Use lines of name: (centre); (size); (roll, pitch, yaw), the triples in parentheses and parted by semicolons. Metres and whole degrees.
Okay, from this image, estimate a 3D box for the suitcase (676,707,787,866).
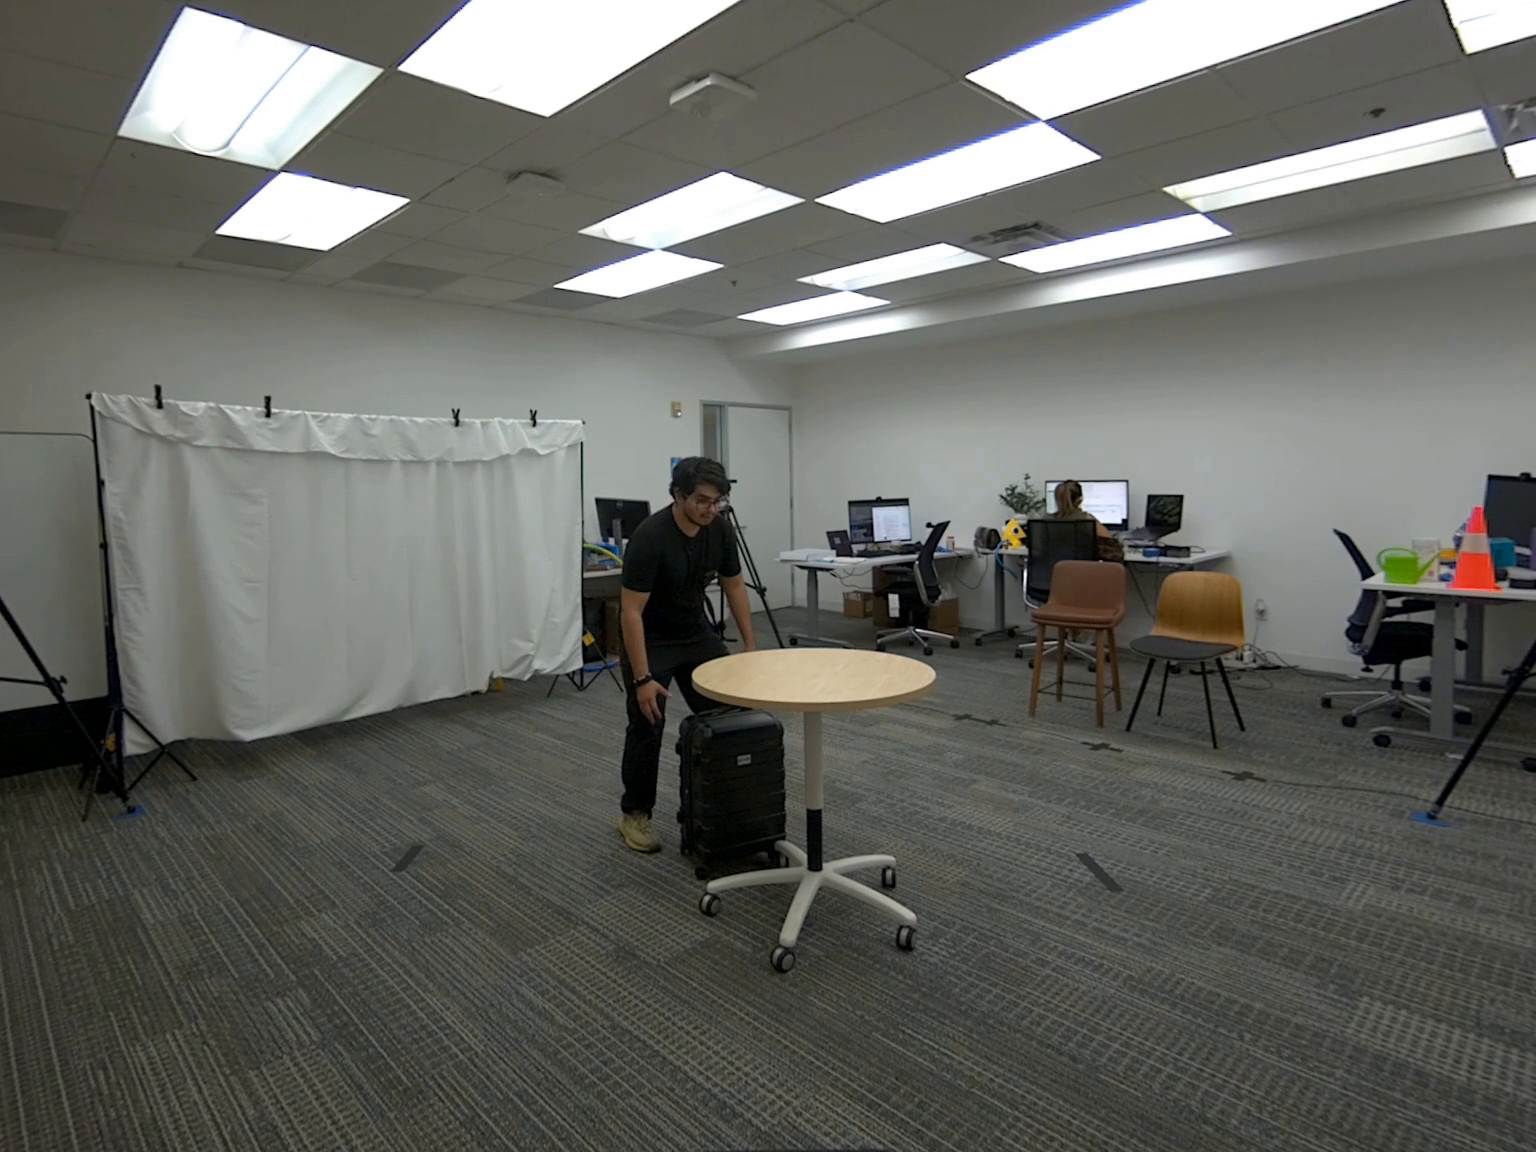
suitcase: (-0.134, 0.764, 3.137); (0.368, 0.547, 0.254); (-5, 4, -24)
